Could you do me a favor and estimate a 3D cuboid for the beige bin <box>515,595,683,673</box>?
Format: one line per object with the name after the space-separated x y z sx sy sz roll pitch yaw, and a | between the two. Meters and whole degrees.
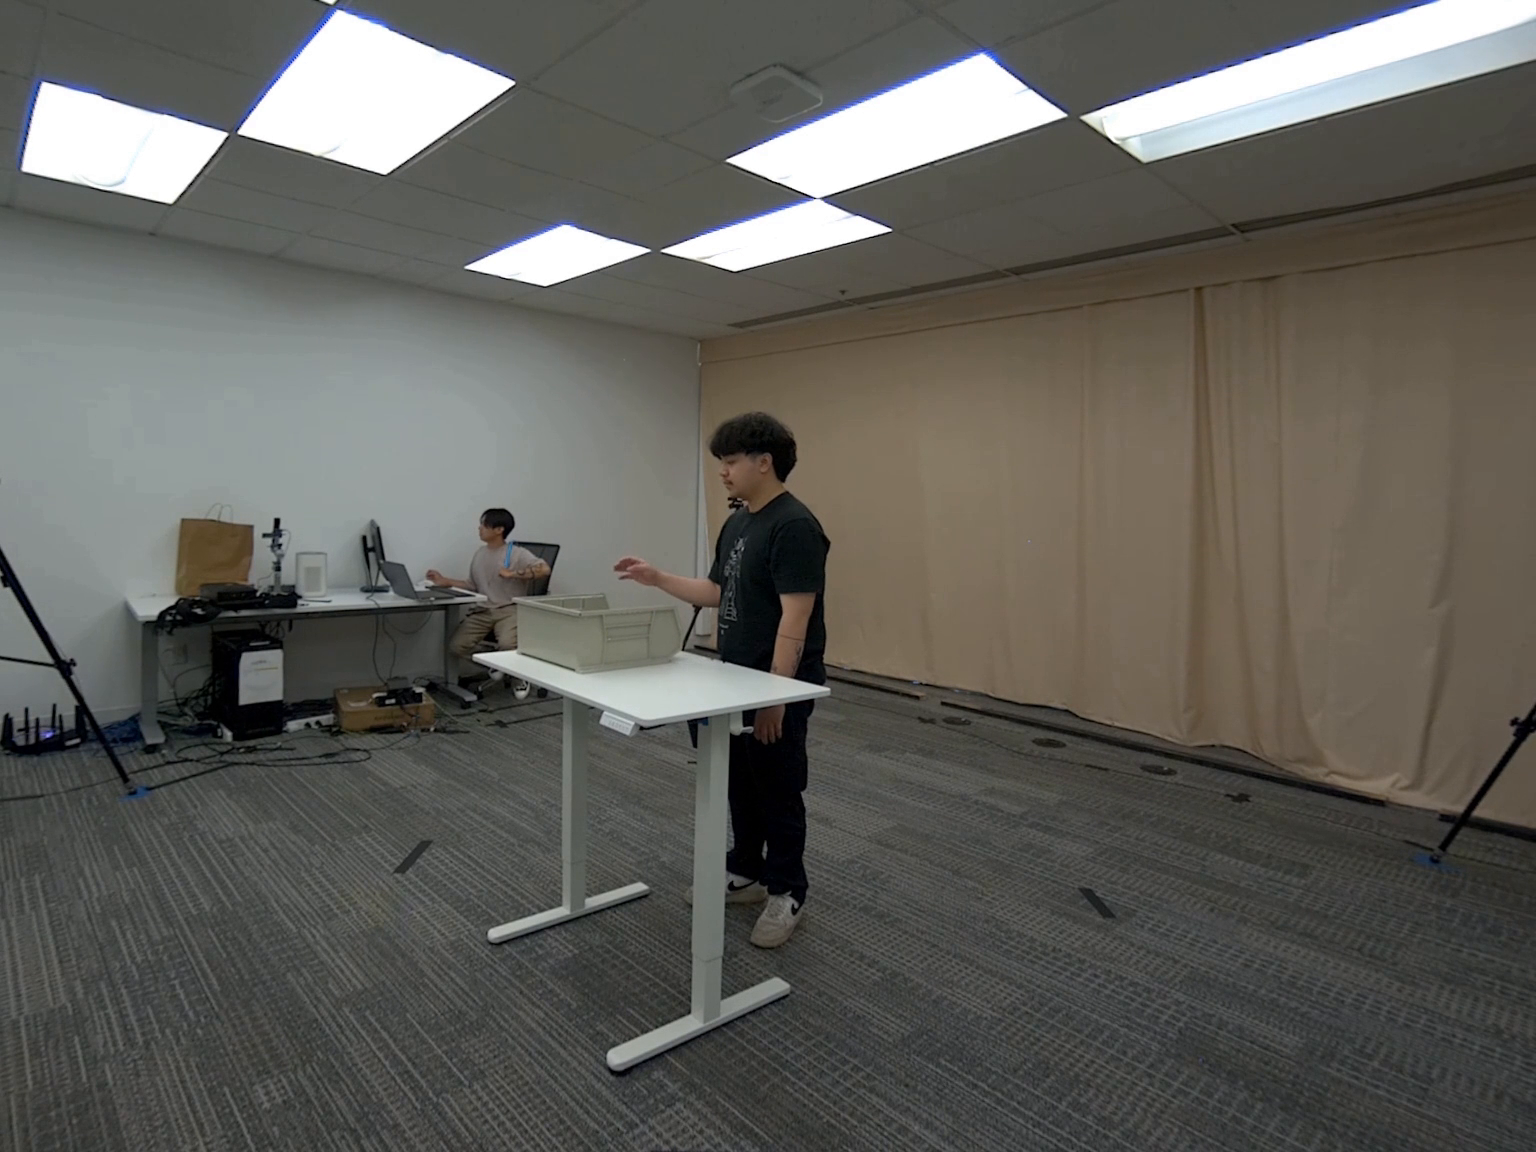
-0.541 0.173 2.661 0.369 0.188 0.433 -4 7 -41 | beige bin
